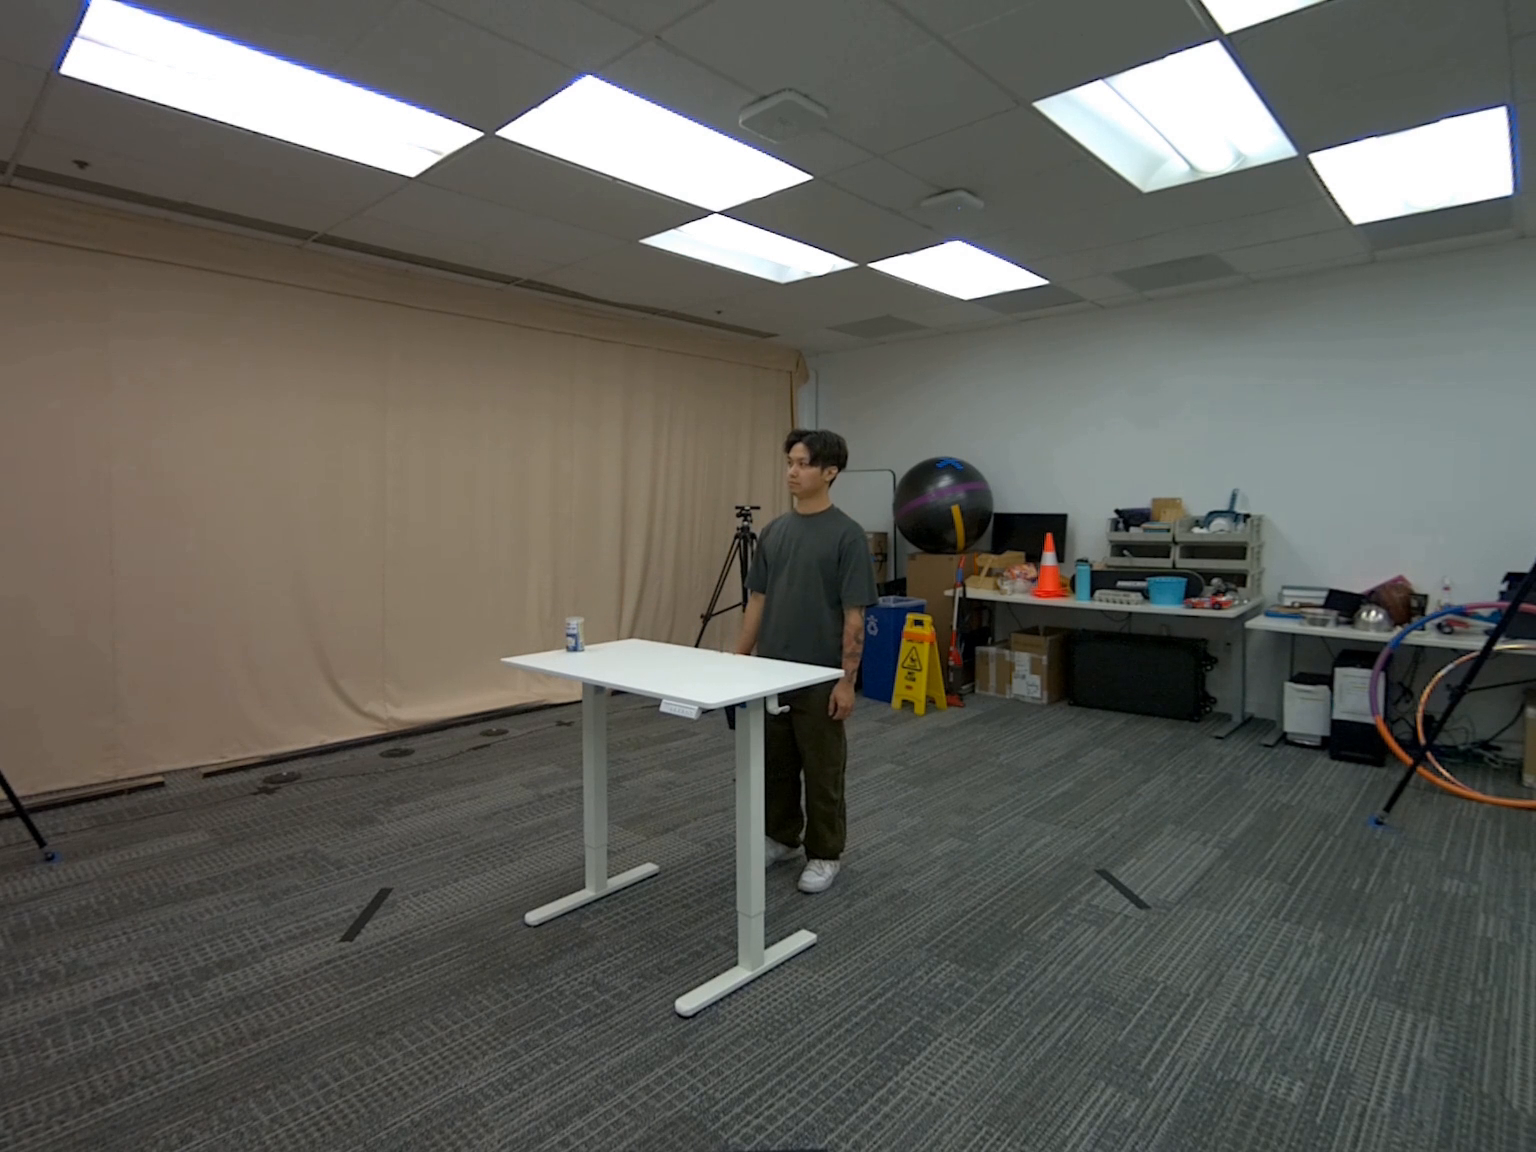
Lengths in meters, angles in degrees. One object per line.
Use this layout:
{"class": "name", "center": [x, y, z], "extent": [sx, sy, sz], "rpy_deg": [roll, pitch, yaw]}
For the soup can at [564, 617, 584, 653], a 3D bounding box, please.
{"class": "soup can", "center": [-0.686, 0.213, 3.008], "extent": [0.067, 0.121, 0.067], "rpy_deg": [-1, 7, -2]}
